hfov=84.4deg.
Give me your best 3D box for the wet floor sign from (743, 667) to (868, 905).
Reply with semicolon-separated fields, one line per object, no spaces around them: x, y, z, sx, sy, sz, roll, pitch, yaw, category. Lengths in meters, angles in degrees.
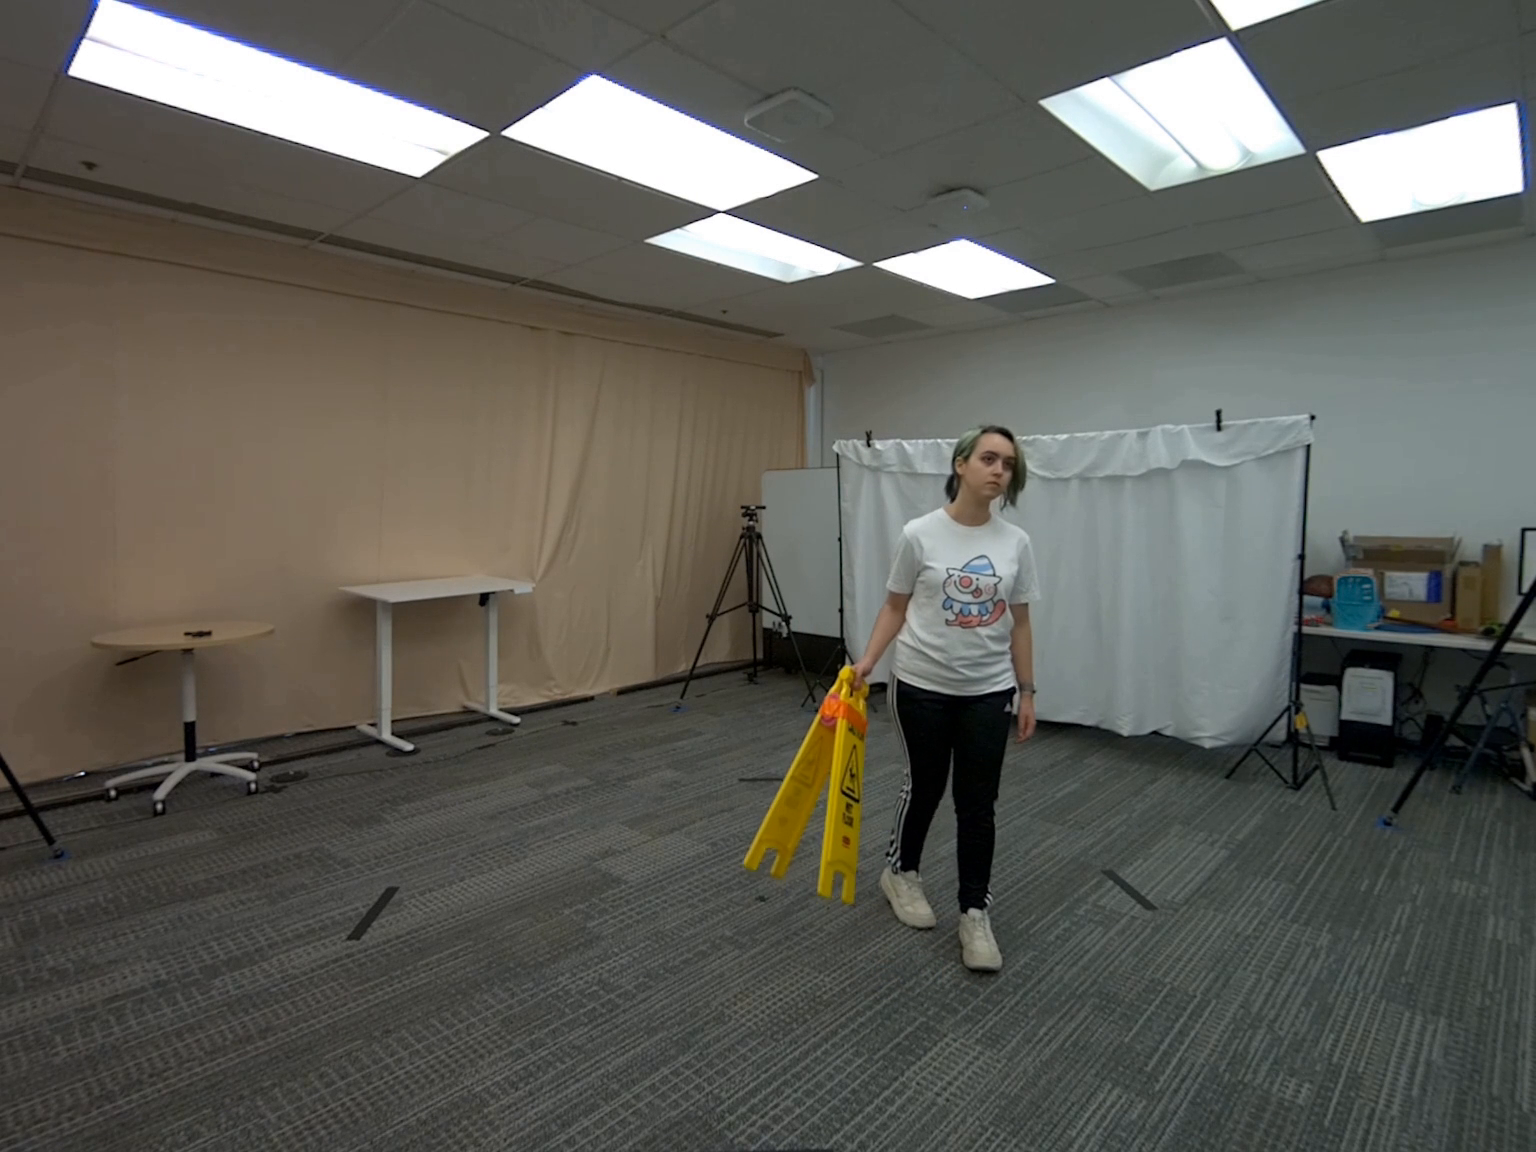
0.192;0.612;2.527;0.299;0.648;0.272;8;-19;30;wet floor sign
